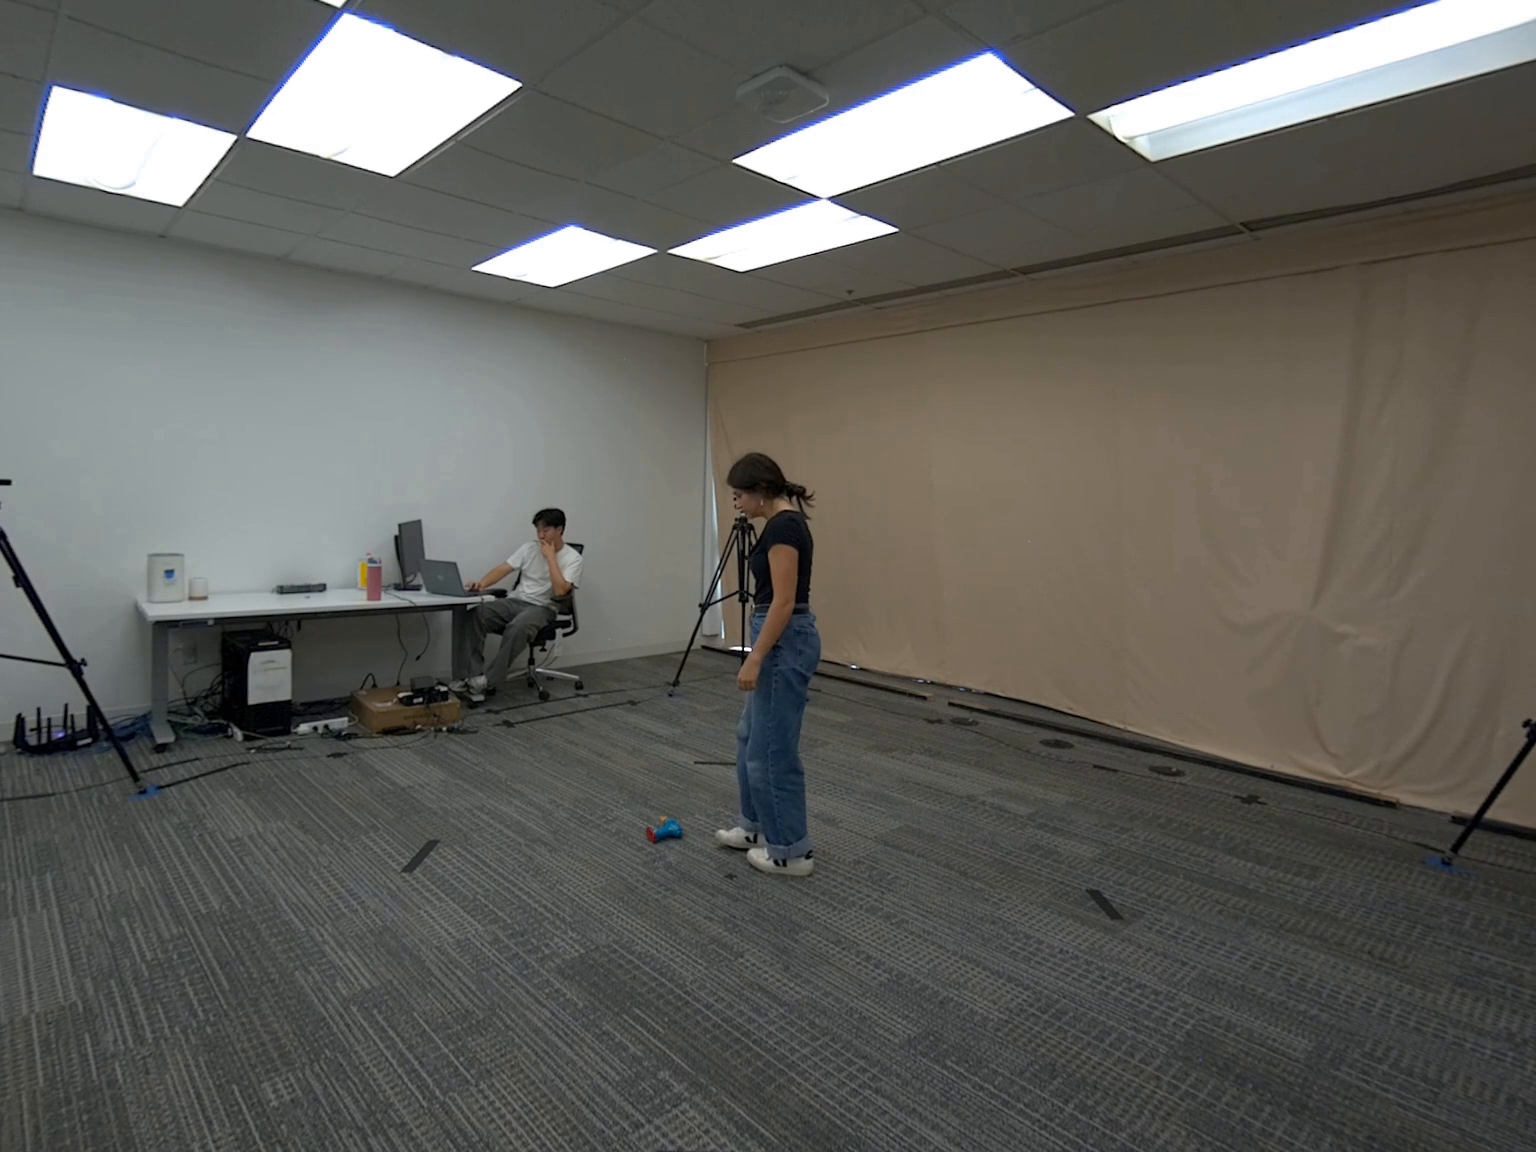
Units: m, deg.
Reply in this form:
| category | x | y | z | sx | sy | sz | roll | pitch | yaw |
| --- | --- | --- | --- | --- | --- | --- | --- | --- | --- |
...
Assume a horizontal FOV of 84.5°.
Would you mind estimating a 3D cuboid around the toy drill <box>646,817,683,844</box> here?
| category | x | y | z | sx | sy | sz | roll | pitch | yaw |
| --- | --- | --- | --- | --- | --- | --- | --- | --- | --- |
| toy drill | -0.441 | 1.034 | 3.477 | 0.143 | 0.061 | 0.174 | -3 | 13 | -31 |
